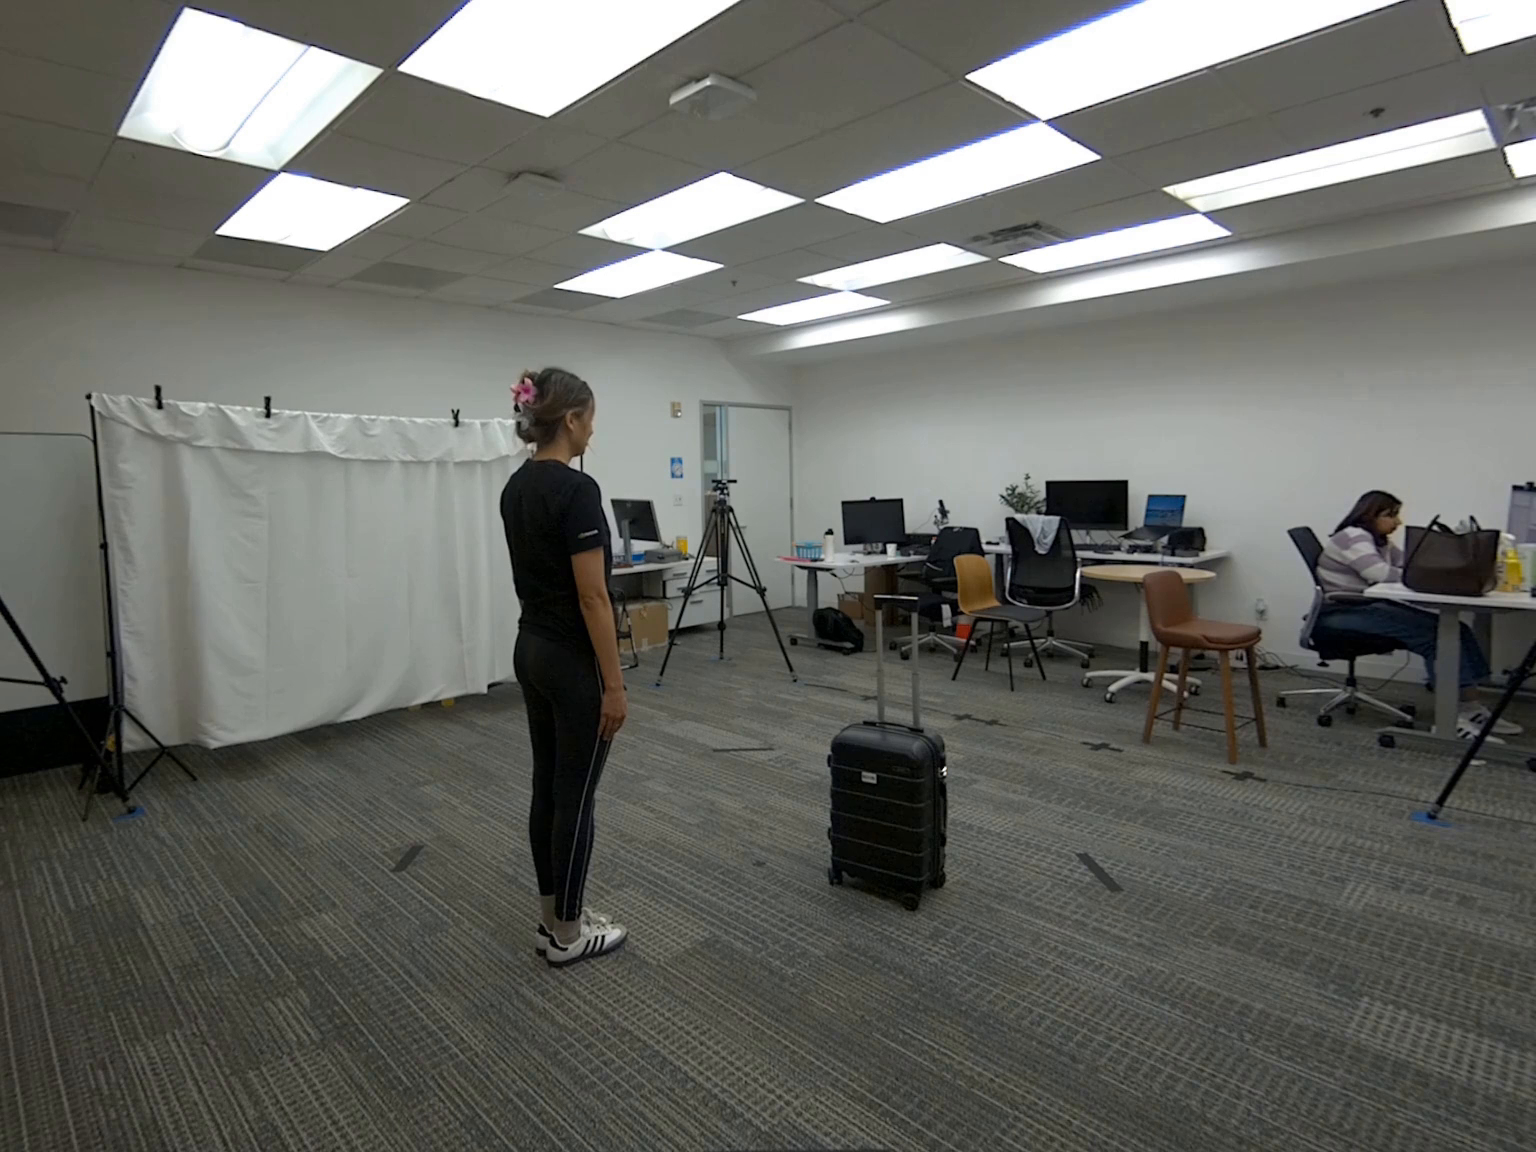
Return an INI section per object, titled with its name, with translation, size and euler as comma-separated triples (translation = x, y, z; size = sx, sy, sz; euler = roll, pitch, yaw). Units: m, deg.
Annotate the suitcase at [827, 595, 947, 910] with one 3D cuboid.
[suitcase]
translation = 0.414, 0.589, 2.894
size = 0.395, 0.974, 0.251
euler = 3, 6, 32
